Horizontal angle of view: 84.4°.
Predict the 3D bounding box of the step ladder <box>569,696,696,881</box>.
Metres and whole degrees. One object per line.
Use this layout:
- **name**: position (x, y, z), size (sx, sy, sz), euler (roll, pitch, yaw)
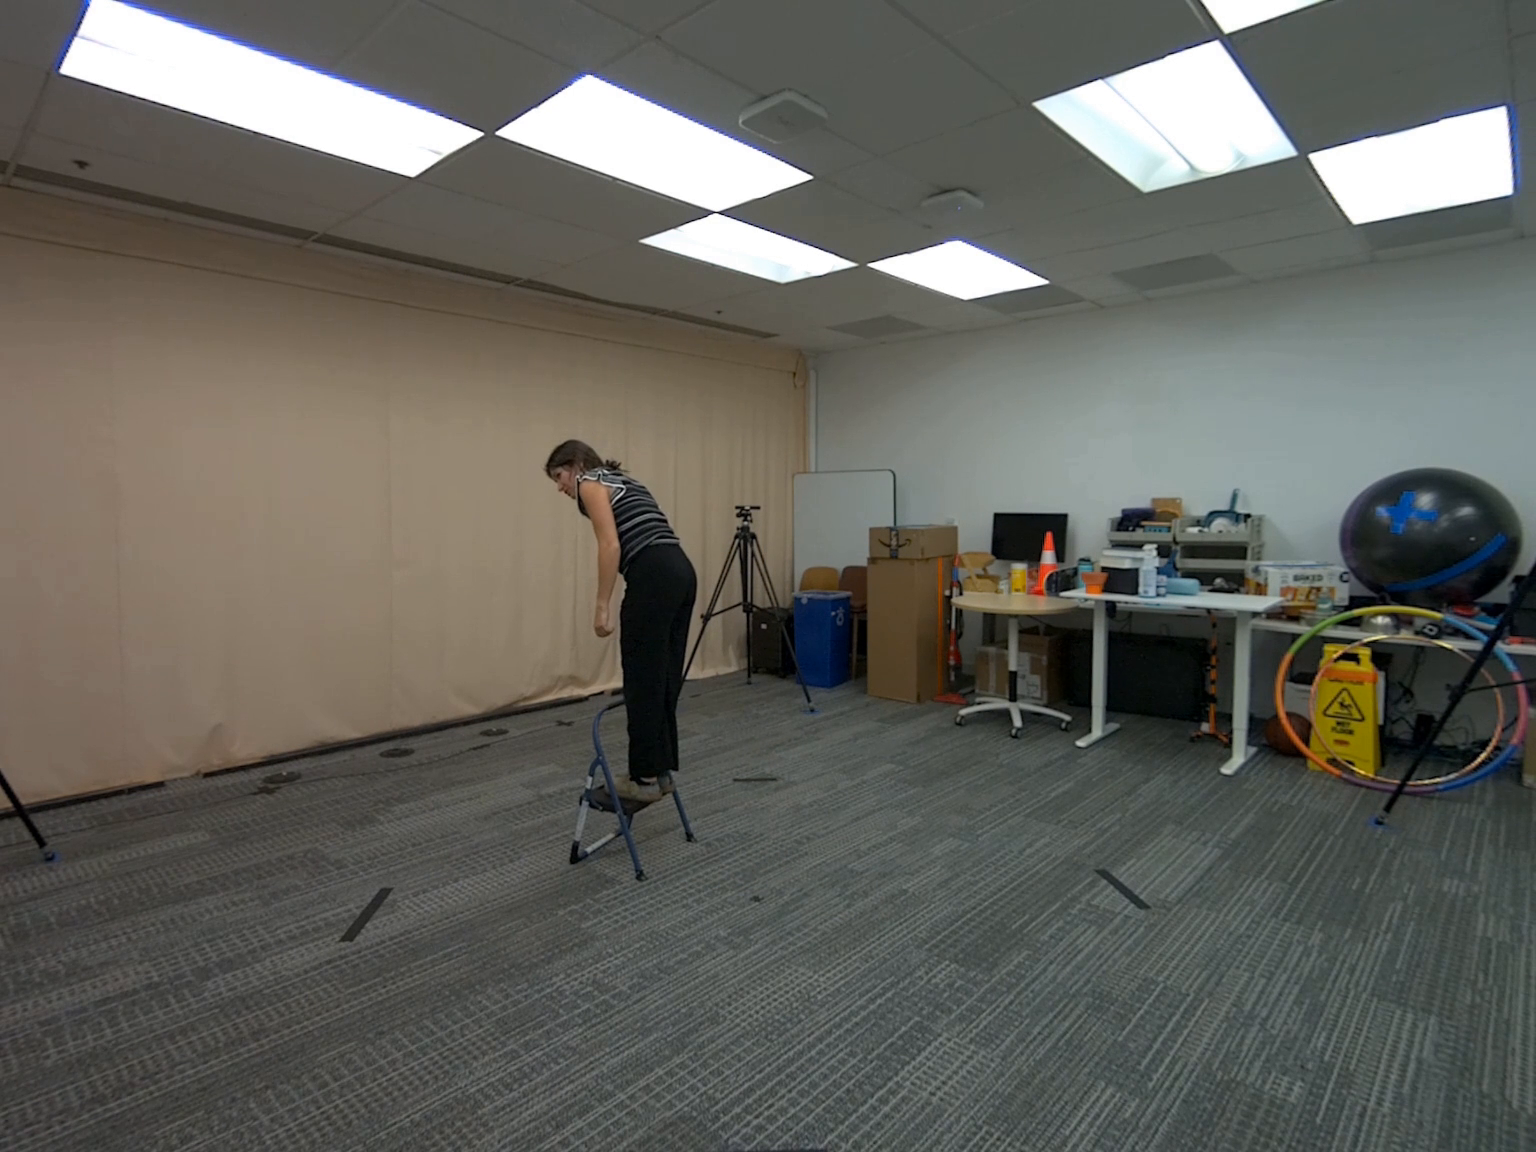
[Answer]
- **step ladder**: position (-0.543, 0.815, 3.386), size (0.358, 0.605, 0.421), euler (1, 3, 24)
